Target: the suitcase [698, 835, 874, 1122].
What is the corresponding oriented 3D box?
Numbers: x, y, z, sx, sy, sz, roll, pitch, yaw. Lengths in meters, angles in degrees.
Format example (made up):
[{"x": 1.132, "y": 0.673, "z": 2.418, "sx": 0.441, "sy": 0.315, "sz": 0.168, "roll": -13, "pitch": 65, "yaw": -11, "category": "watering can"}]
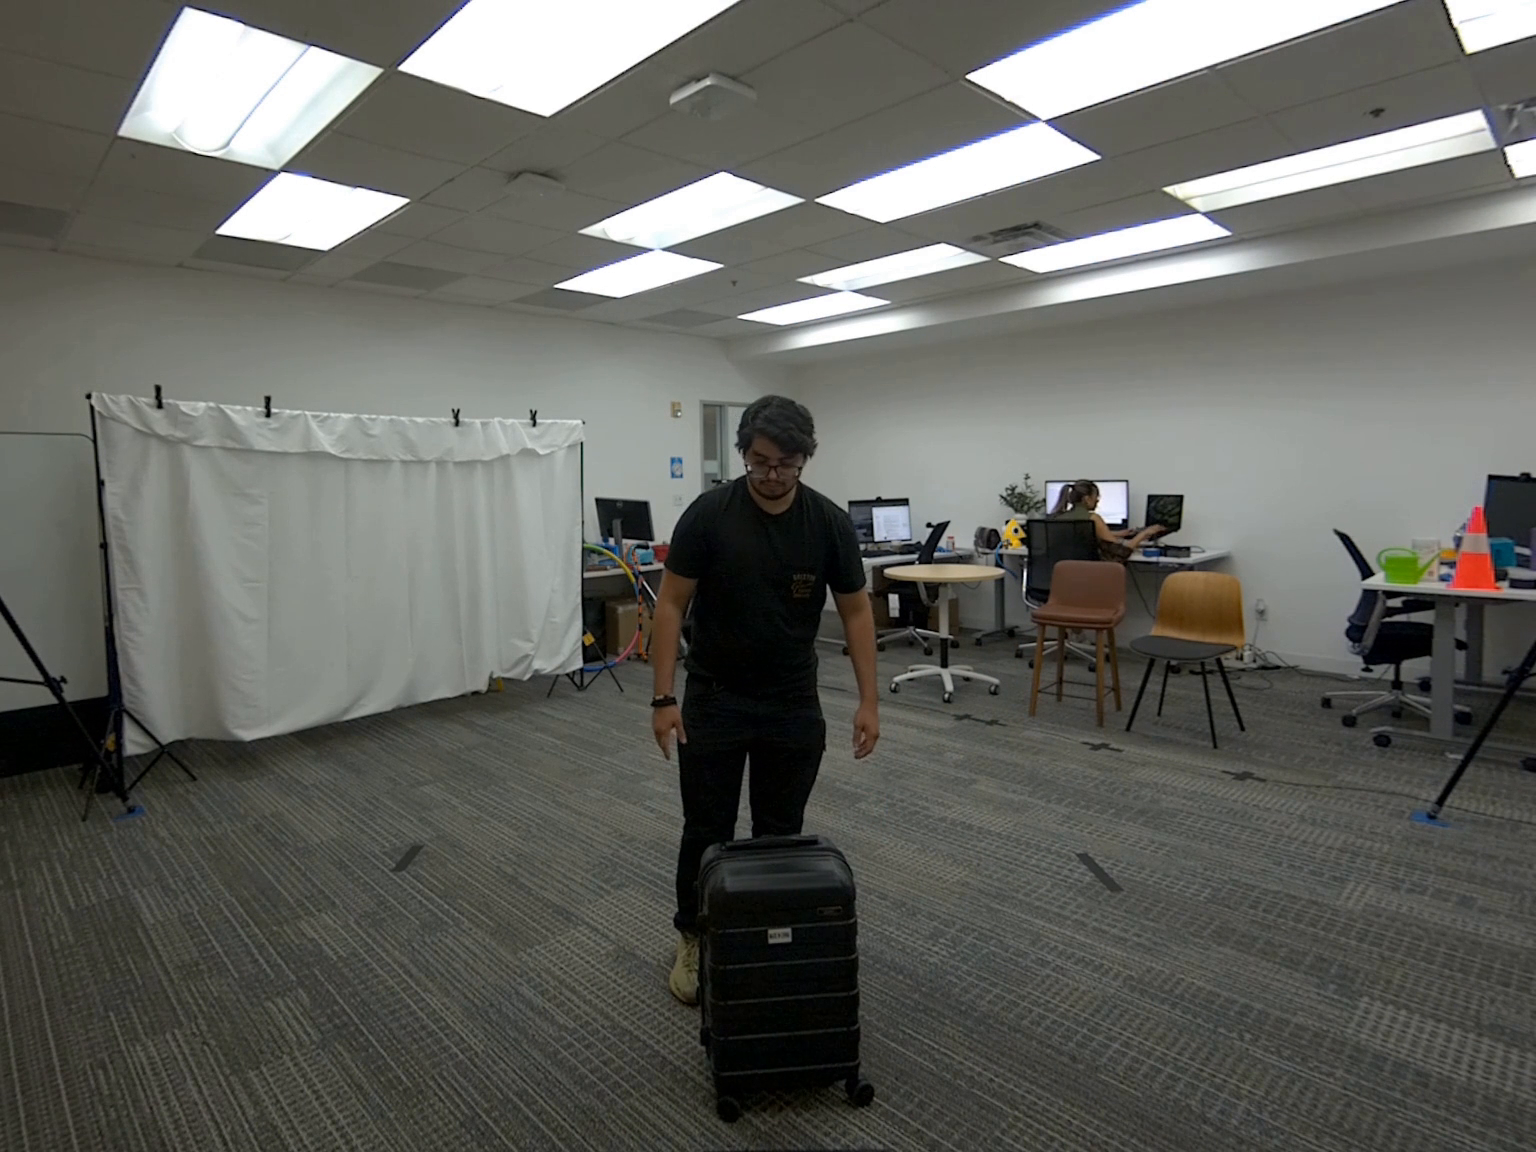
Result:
[{"x": 0.033, "y": 0.903, "z": 1.989, "sx": 0.373, "sy": 0.547, "sz": 0.251, "roll": -1, "pitch": 5, "yaw": -5, "category": "suitcase"}]
